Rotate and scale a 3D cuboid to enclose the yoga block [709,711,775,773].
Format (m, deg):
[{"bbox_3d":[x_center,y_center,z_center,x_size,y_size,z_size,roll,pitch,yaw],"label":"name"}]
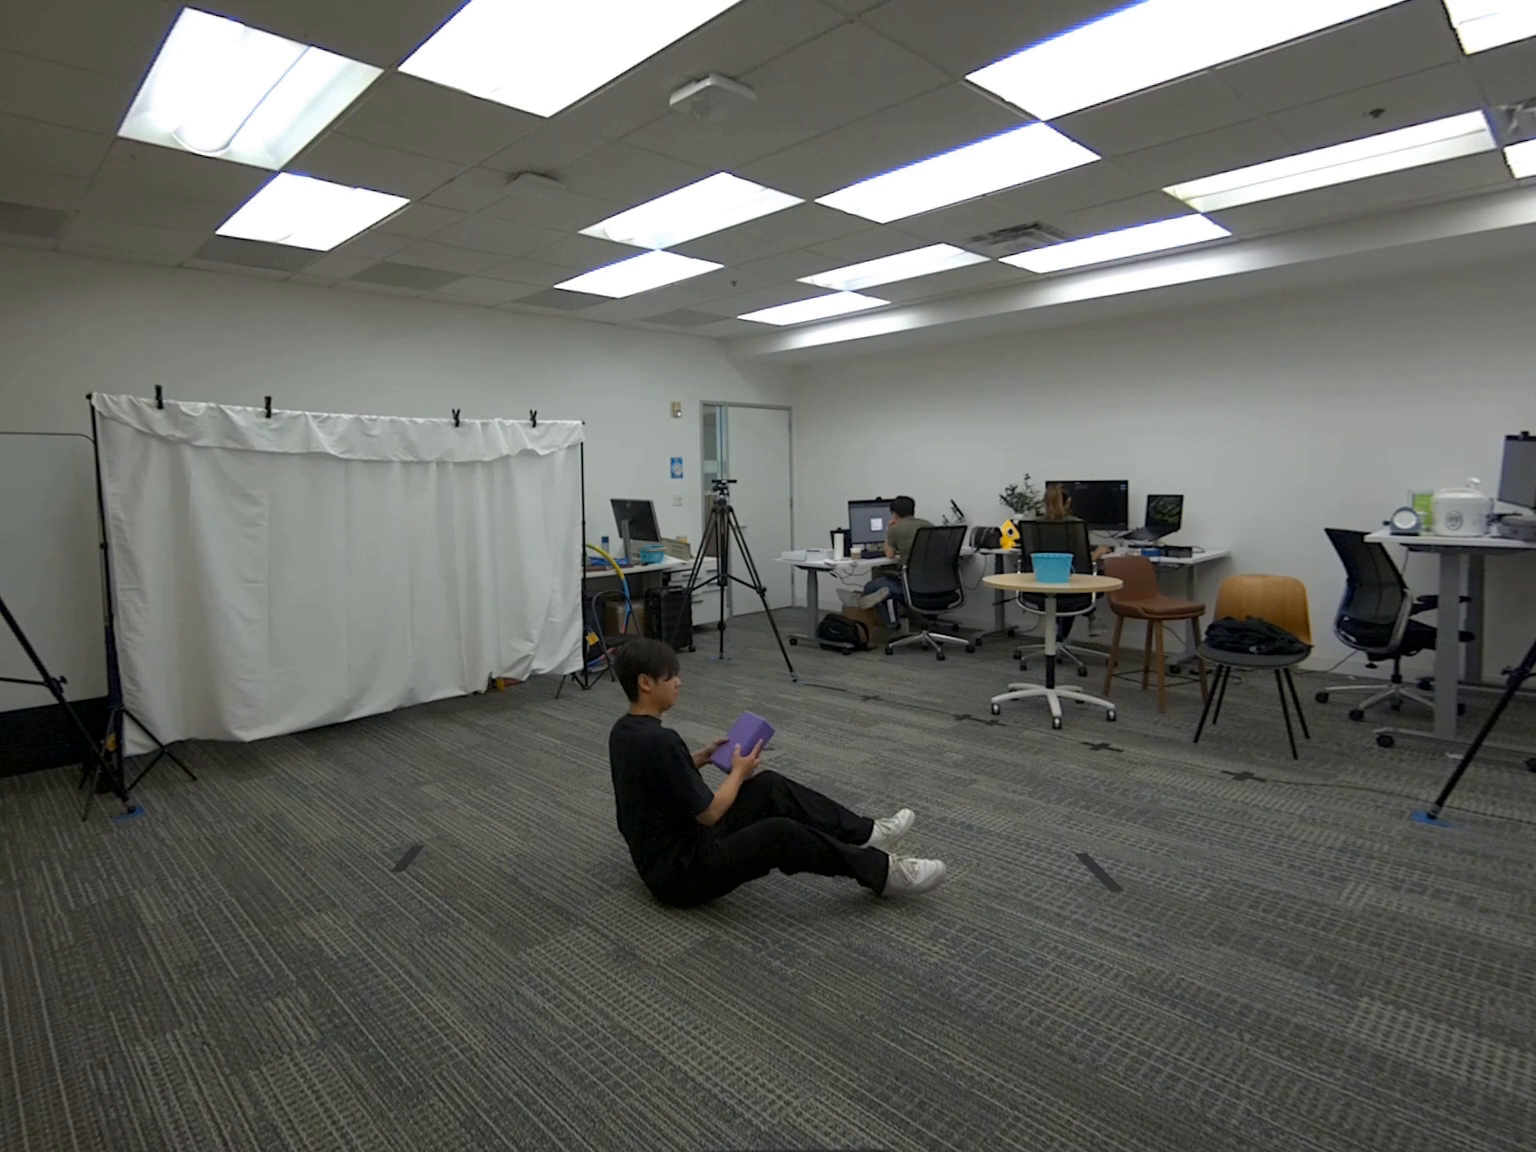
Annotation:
[{"bbox_3d":[-0.094,0.618,3.120,0.074,0.230,0.153,47,-19,-27],"label":"yoga block"}]
